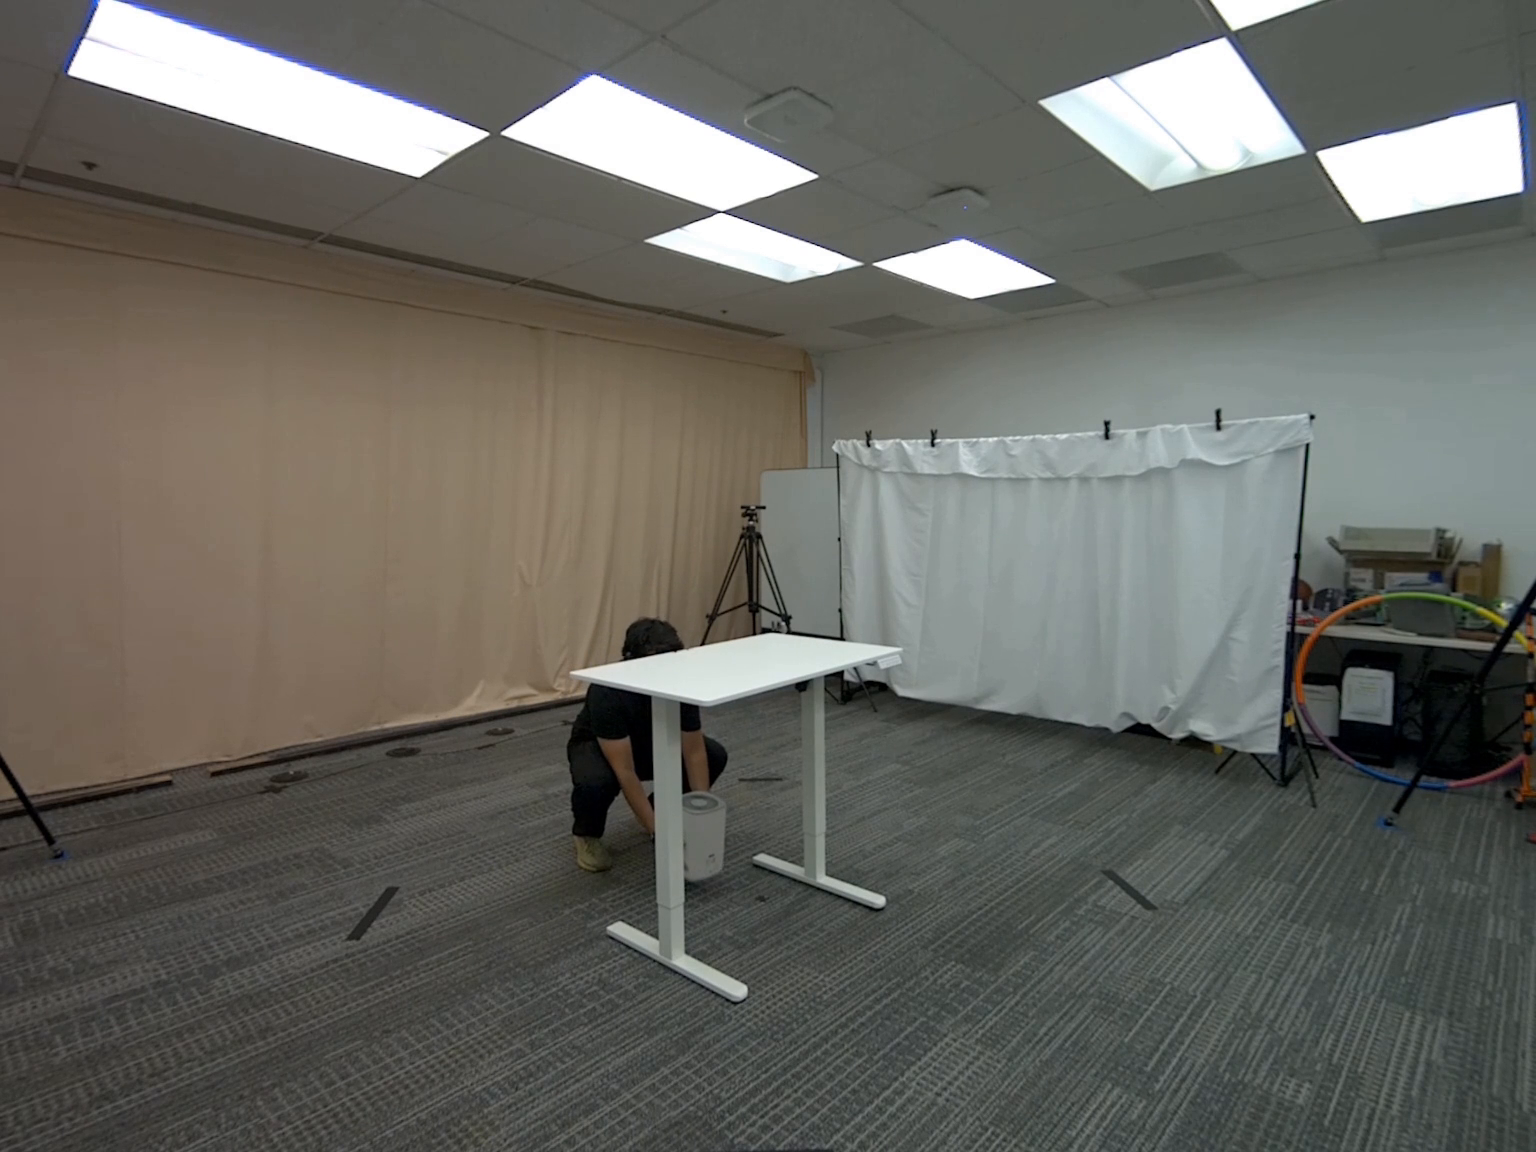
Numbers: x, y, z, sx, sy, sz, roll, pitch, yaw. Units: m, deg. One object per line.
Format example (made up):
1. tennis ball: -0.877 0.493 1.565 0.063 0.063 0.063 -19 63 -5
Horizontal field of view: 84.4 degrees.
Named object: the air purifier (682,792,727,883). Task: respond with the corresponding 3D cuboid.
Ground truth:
1. air purifier: -0.263 0.947 3.056 0.166 0.264 0.178 -4 10 -44
